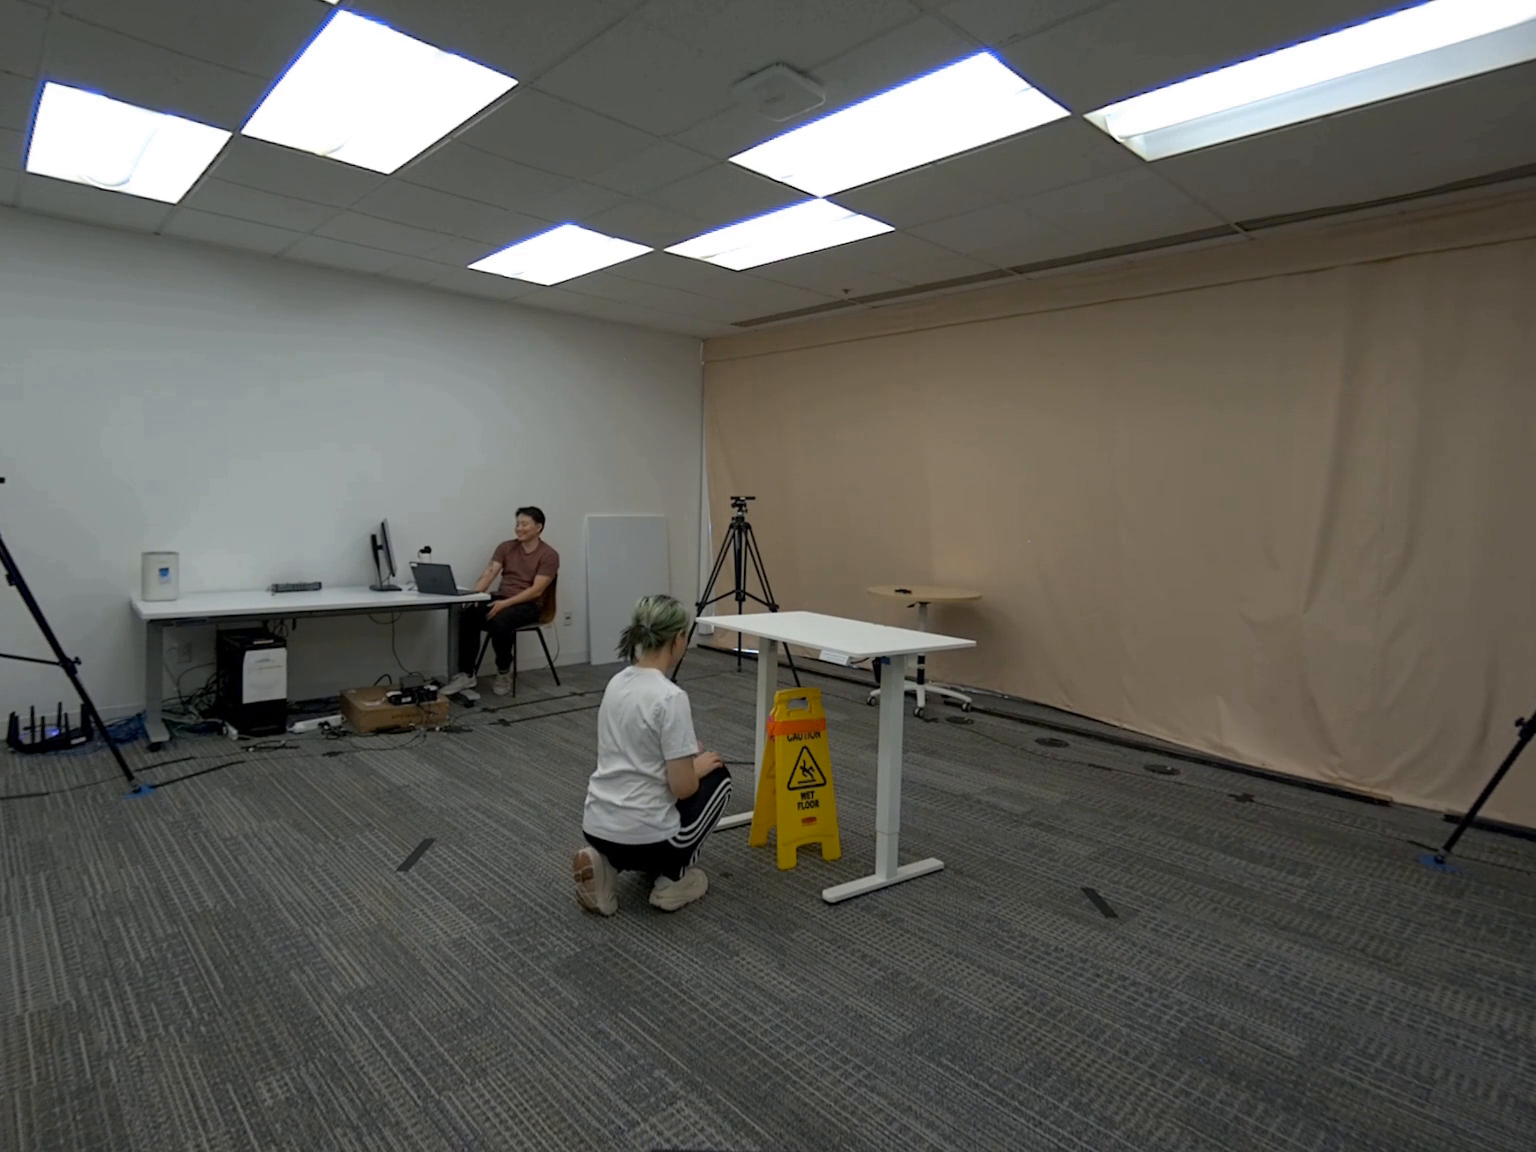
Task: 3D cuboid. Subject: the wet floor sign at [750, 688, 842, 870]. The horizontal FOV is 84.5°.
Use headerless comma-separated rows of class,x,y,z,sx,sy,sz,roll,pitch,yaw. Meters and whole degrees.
wet floor sign,0.104,0.765,3.309,0.277,0.644,0.296,-1,4,-27
